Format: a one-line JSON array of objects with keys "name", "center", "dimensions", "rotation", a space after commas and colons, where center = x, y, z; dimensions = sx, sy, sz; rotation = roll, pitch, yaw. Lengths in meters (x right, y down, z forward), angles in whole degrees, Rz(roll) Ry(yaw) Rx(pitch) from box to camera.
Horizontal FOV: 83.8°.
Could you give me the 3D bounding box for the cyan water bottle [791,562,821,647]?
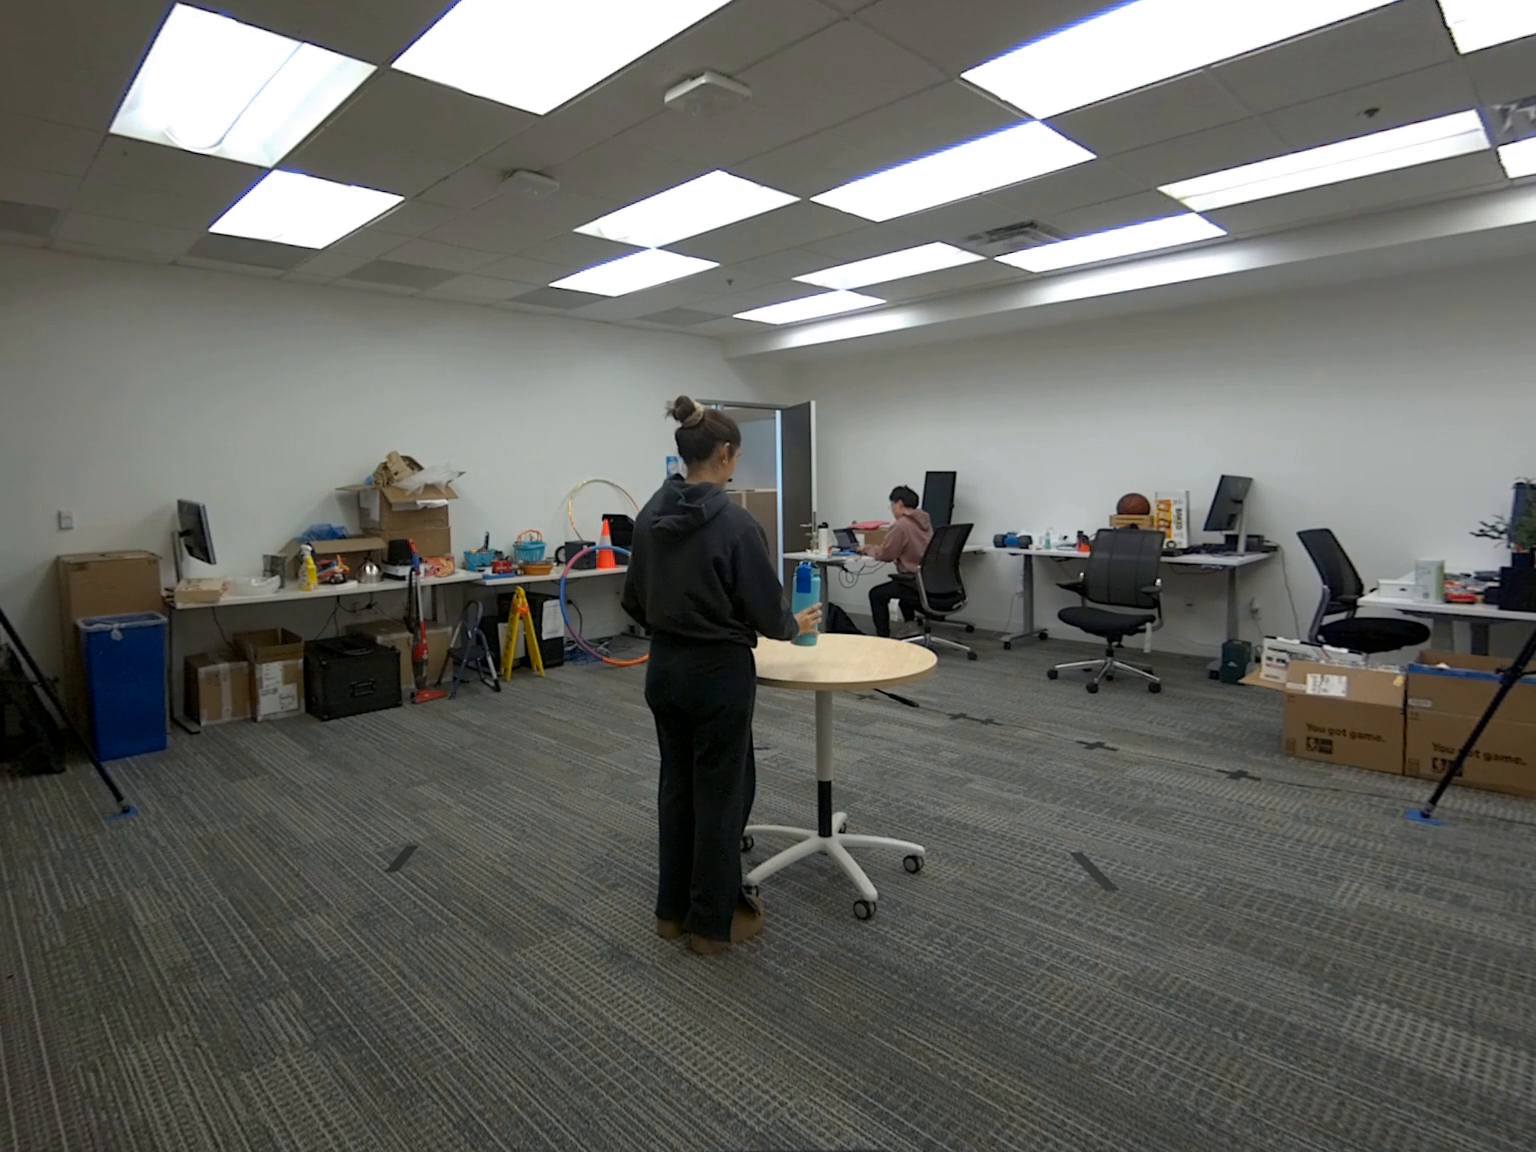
[{"name": "cyan water bottle", "center": [0.128, 0.079, 2.787], "dimensions": [0.092, 0.282, 0.093], "rotation": [1, 4, -2]}]
